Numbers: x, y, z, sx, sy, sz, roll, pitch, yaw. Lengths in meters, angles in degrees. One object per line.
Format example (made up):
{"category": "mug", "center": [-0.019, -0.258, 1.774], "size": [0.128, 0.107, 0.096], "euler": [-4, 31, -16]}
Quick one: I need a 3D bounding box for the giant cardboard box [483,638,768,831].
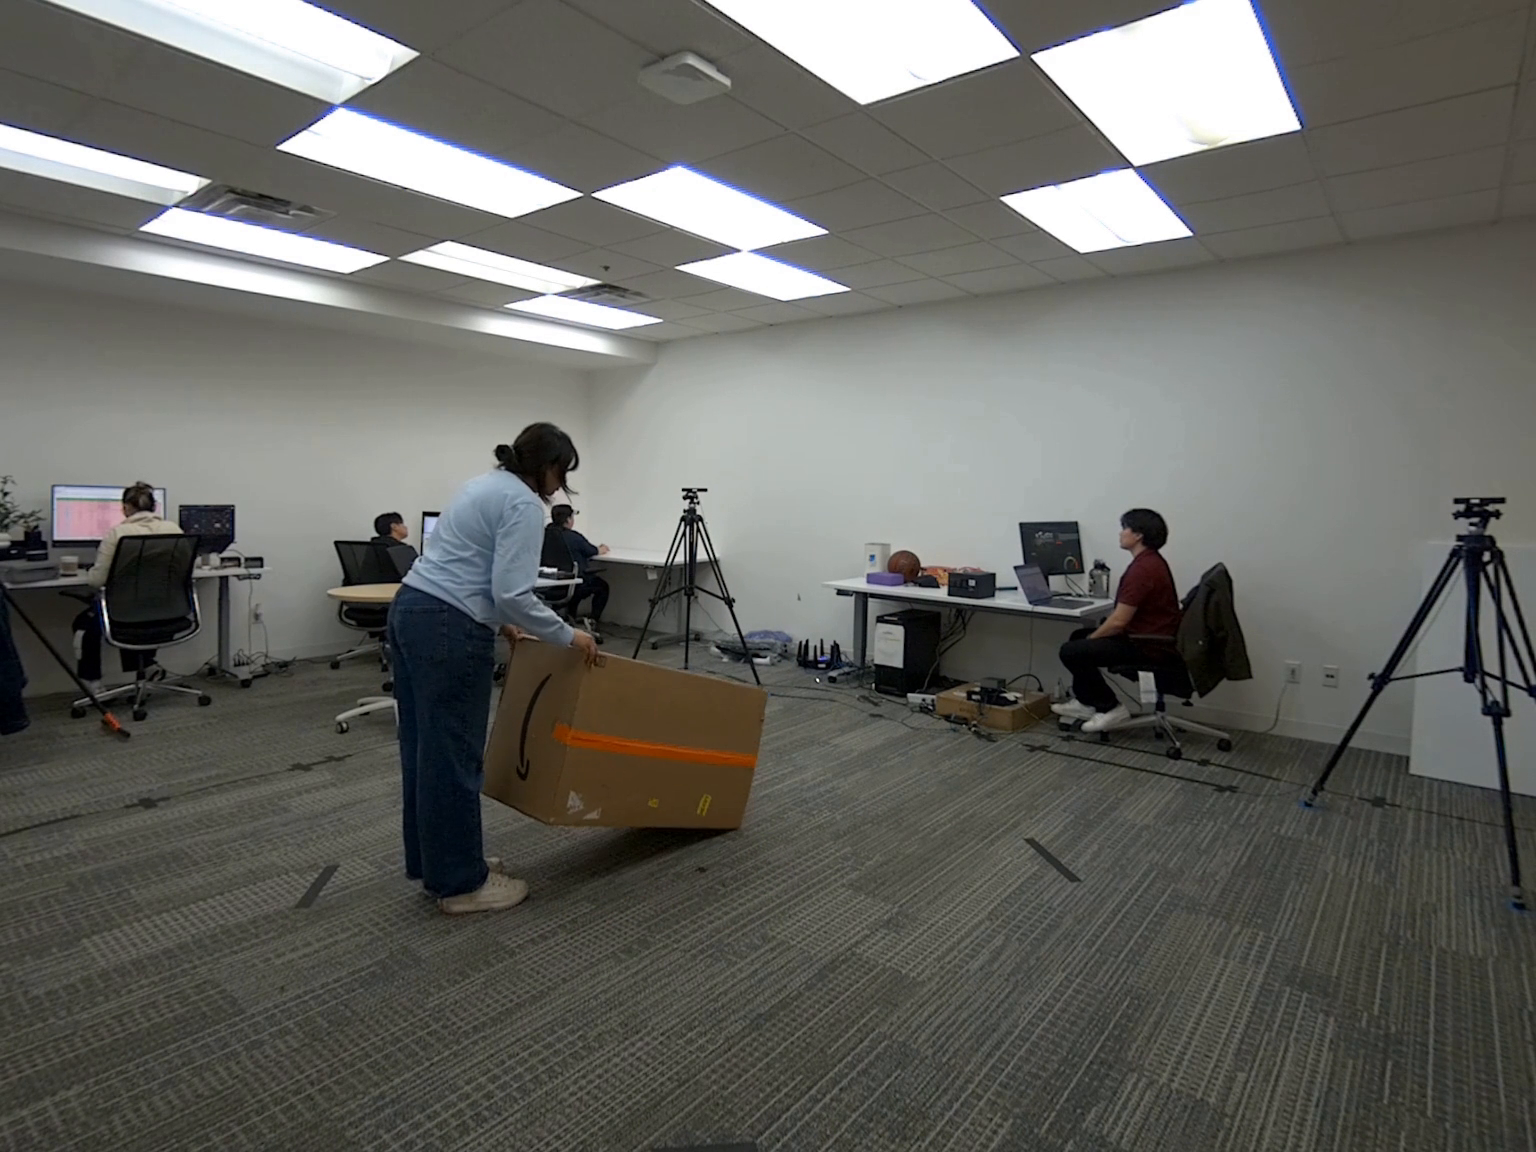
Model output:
{"category": "giant cardboard box", "center": [-0.525, 0.626, 3.308], "size": [0.462, 0.588, 0.986], "euler": [4, -11, 40]}
